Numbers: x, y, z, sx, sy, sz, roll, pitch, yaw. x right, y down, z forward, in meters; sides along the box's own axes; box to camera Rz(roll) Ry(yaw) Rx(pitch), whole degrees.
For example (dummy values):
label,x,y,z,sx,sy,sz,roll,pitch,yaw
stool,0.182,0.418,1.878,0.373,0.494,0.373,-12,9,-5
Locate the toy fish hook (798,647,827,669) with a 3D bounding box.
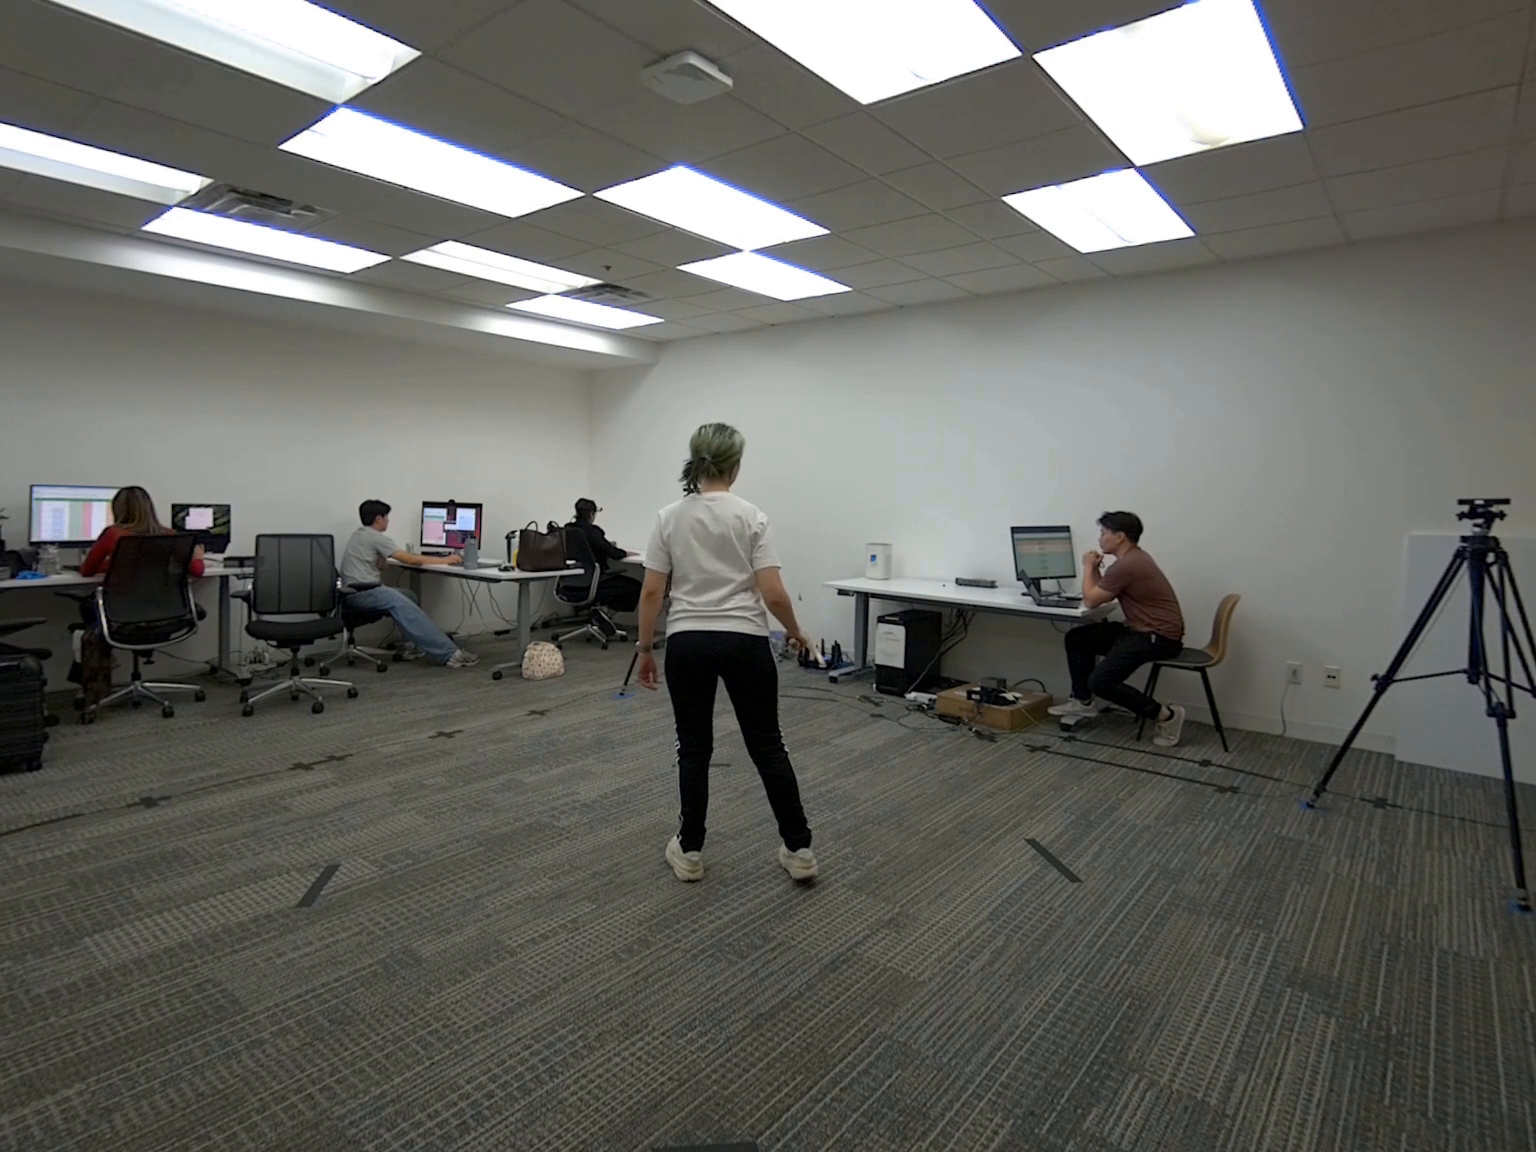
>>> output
label,x,y,z,sx,sy,sz,roll,pitch,yaw
toy fish hook,0.157,0.284,3.326,0.225,0.048,0.505,45,5,0
